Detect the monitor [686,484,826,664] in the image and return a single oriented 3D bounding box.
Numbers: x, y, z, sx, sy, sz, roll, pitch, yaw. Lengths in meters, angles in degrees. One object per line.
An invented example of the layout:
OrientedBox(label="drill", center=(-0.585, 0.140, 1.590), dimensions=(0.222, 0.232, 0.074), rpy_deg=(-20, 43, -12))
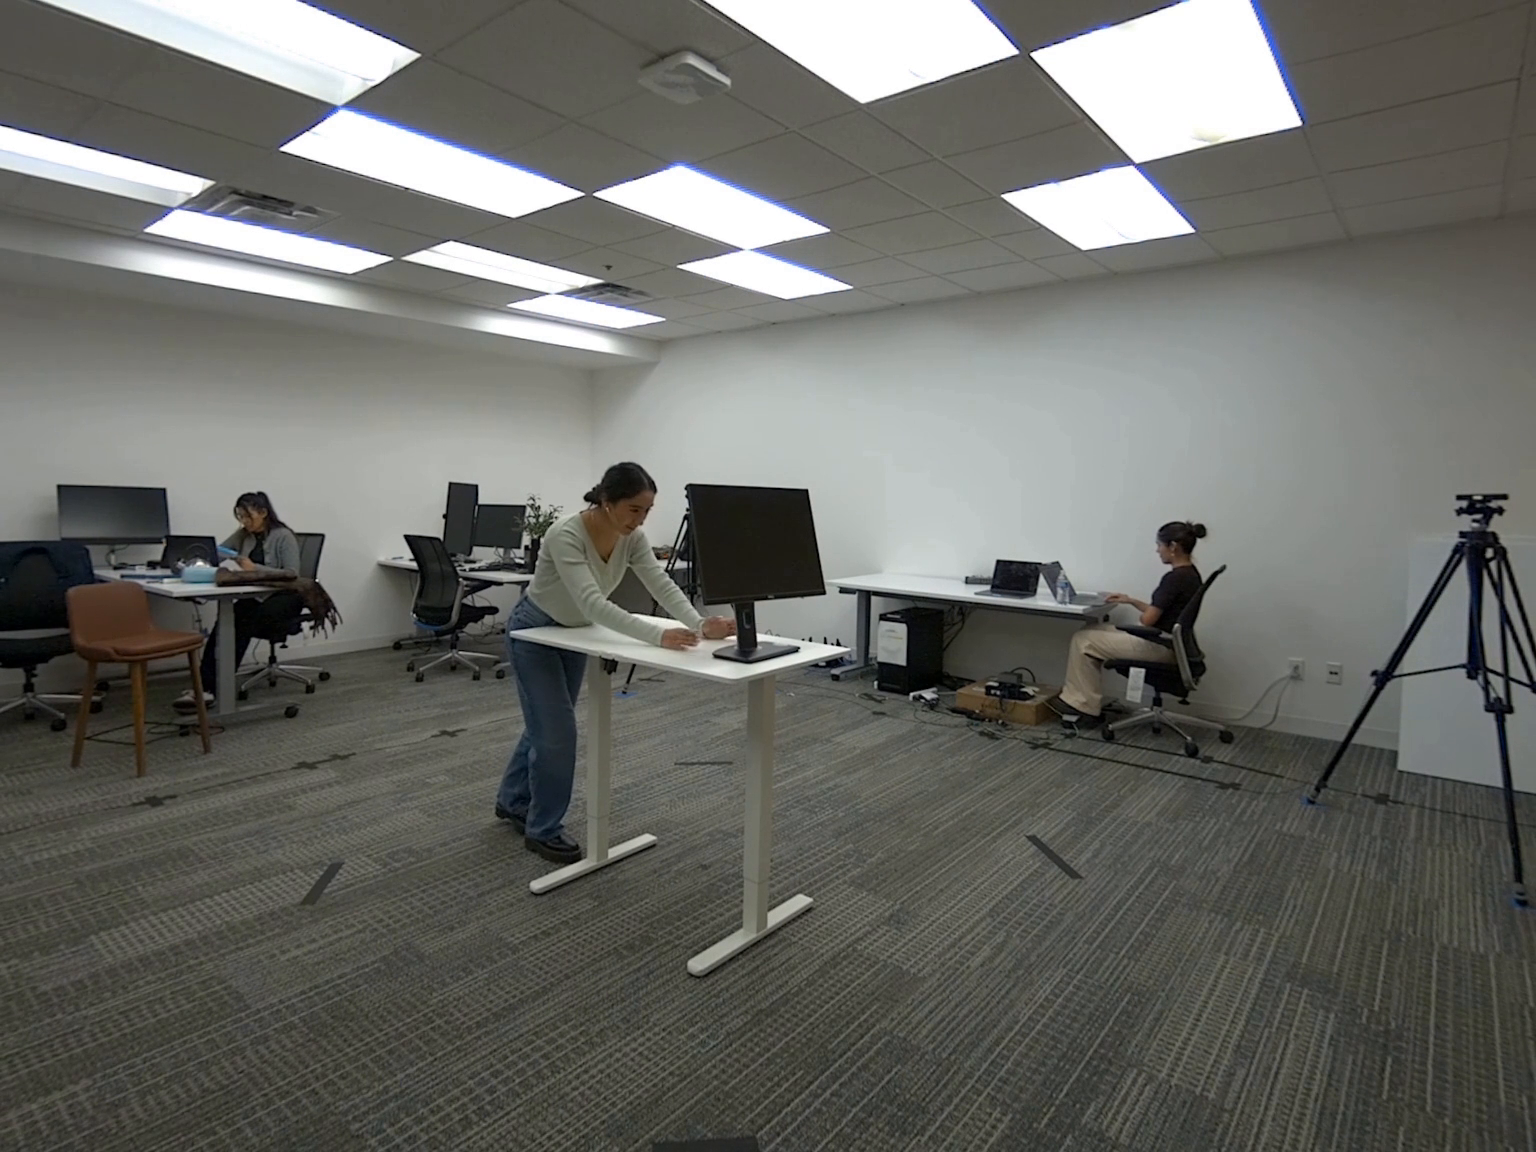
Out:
OrientedBox(label="monitor", center=(-0.056, -0.014, 2.605), dimensions=(0.193, 0.522, 0.522), rpy_deg=(1, 2, 41))
